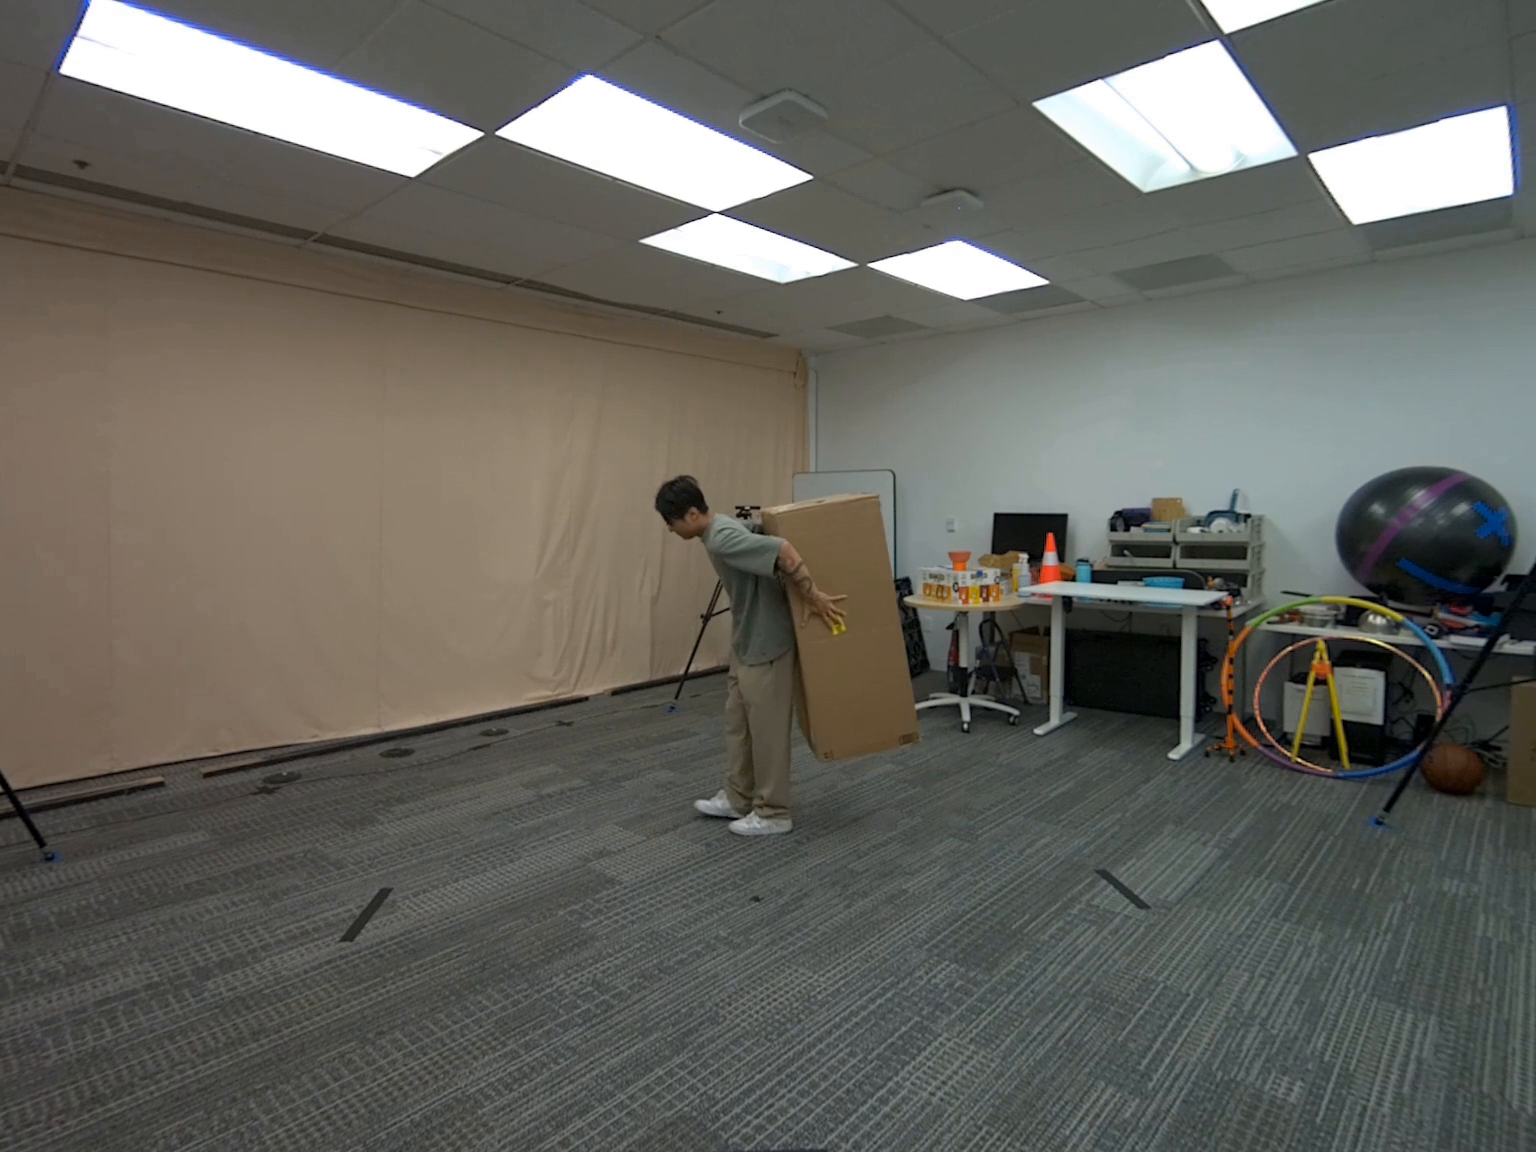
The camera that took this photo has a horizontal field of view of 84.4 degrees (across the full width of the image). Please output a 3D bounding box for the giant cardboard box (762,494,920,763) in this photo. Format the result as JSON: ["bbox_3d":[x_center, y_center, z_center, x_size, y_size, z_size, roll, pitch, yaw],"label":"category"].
[{"bbox_3d":[0.293,0.189,3.624,0.425,1.022,0.582,-10,5,-4],"label":"giant cardboard box"}]
